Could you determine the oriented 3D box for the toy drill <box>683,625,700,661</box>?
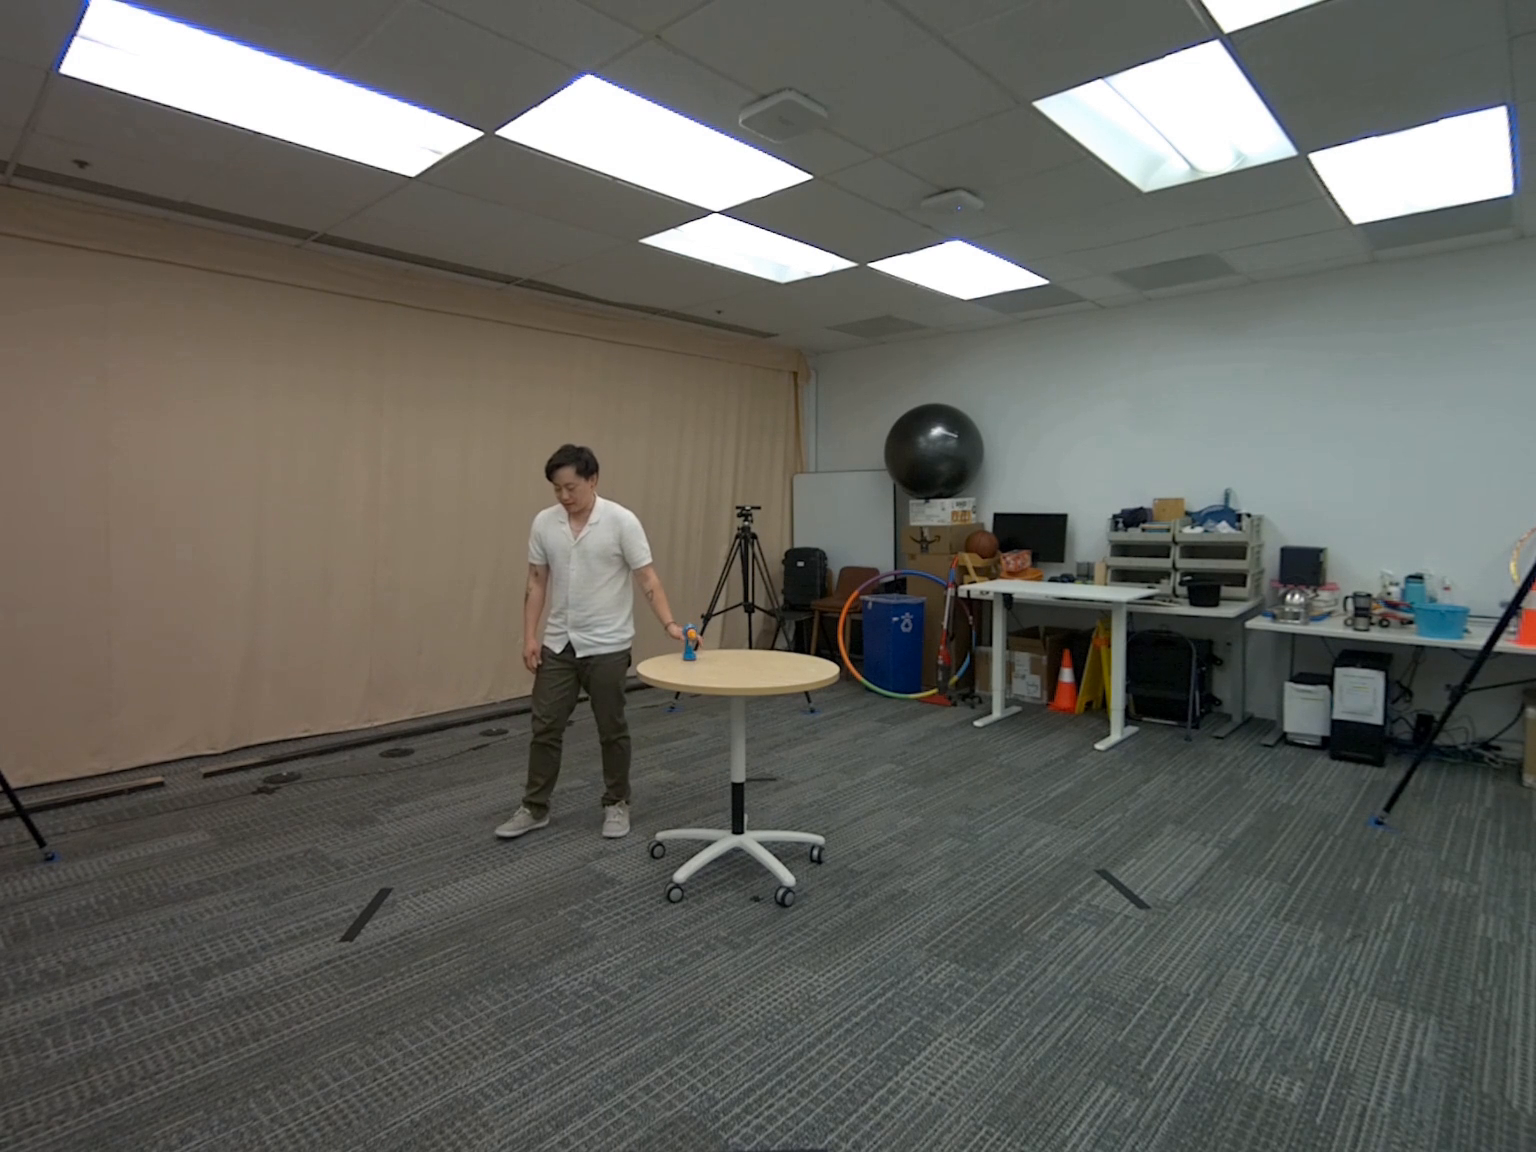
[{"bbox_3d":[-0.298,0.260,3.301,0.060,0.146,0.172,4,1,-13],"label":"toy drill"}]
